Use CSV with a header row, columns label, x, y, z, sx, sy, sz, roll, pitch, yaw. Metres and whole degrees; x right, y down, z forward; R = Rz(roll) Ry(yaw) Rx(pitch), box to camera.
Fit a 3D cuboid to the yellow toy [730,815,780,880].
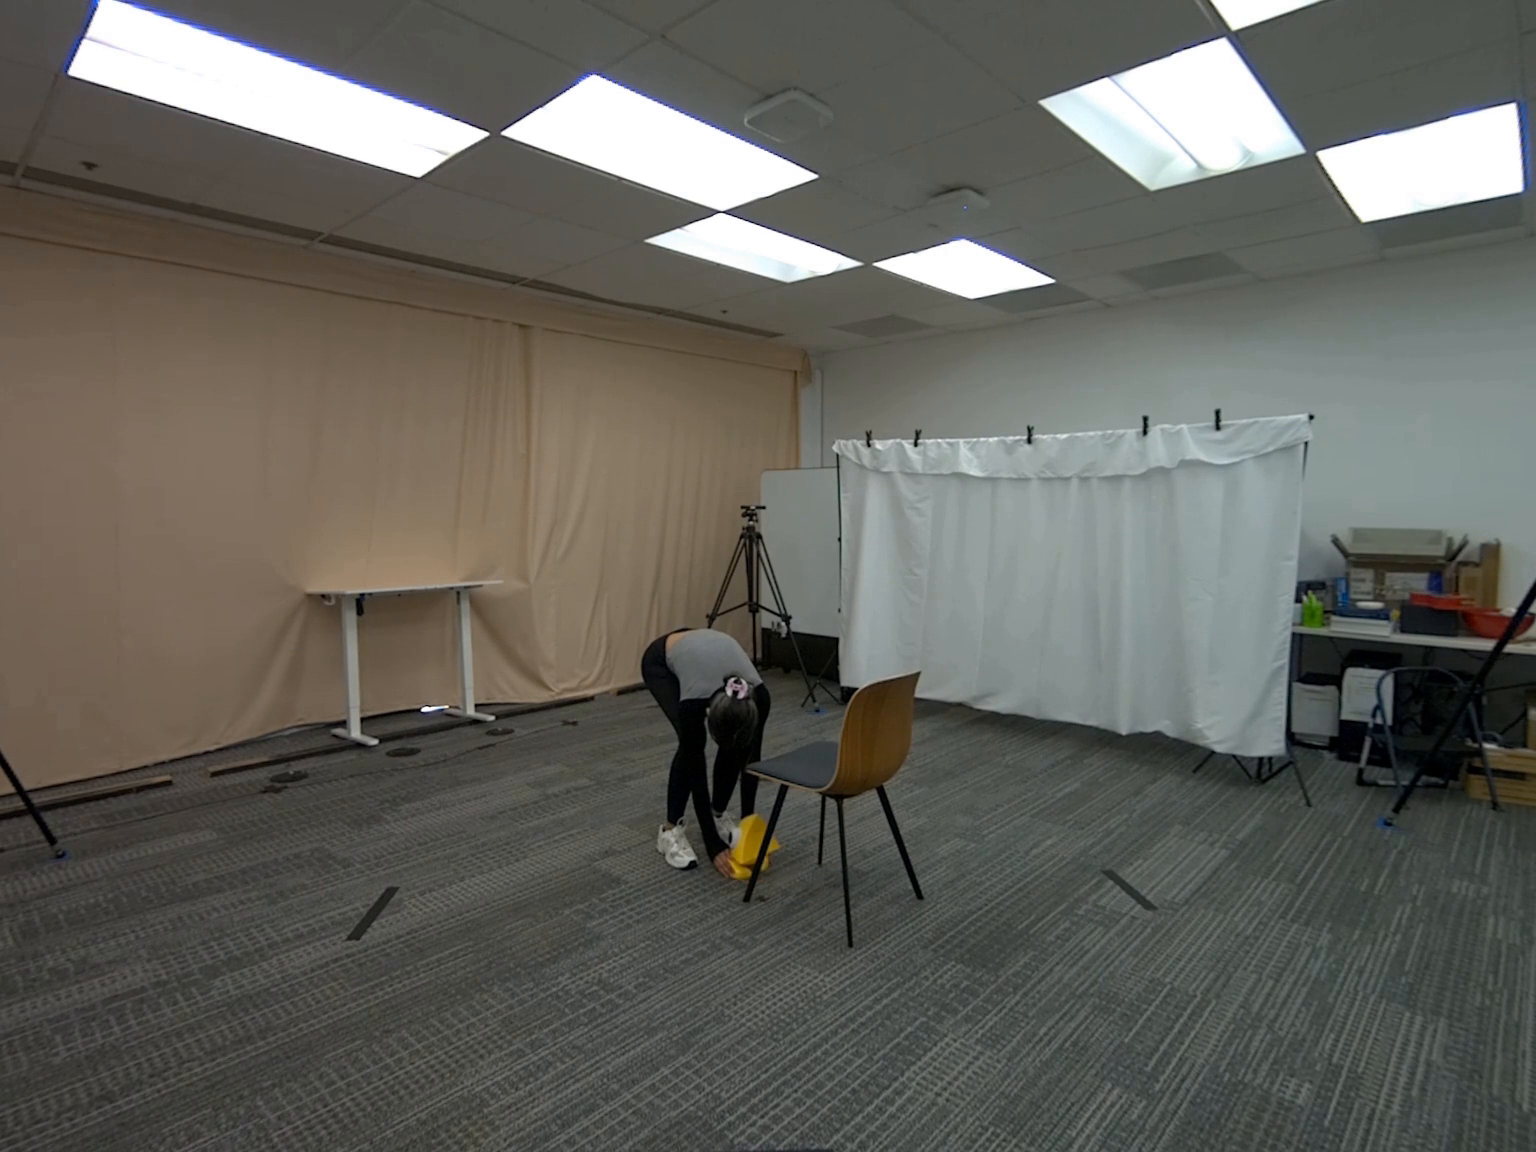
label,x,y,z,sx,sy,sz,roll,pitch,yaw
yellow toy,-0.082,1.009,3.215,0.198,0.229,0.200,-5,12,-43
